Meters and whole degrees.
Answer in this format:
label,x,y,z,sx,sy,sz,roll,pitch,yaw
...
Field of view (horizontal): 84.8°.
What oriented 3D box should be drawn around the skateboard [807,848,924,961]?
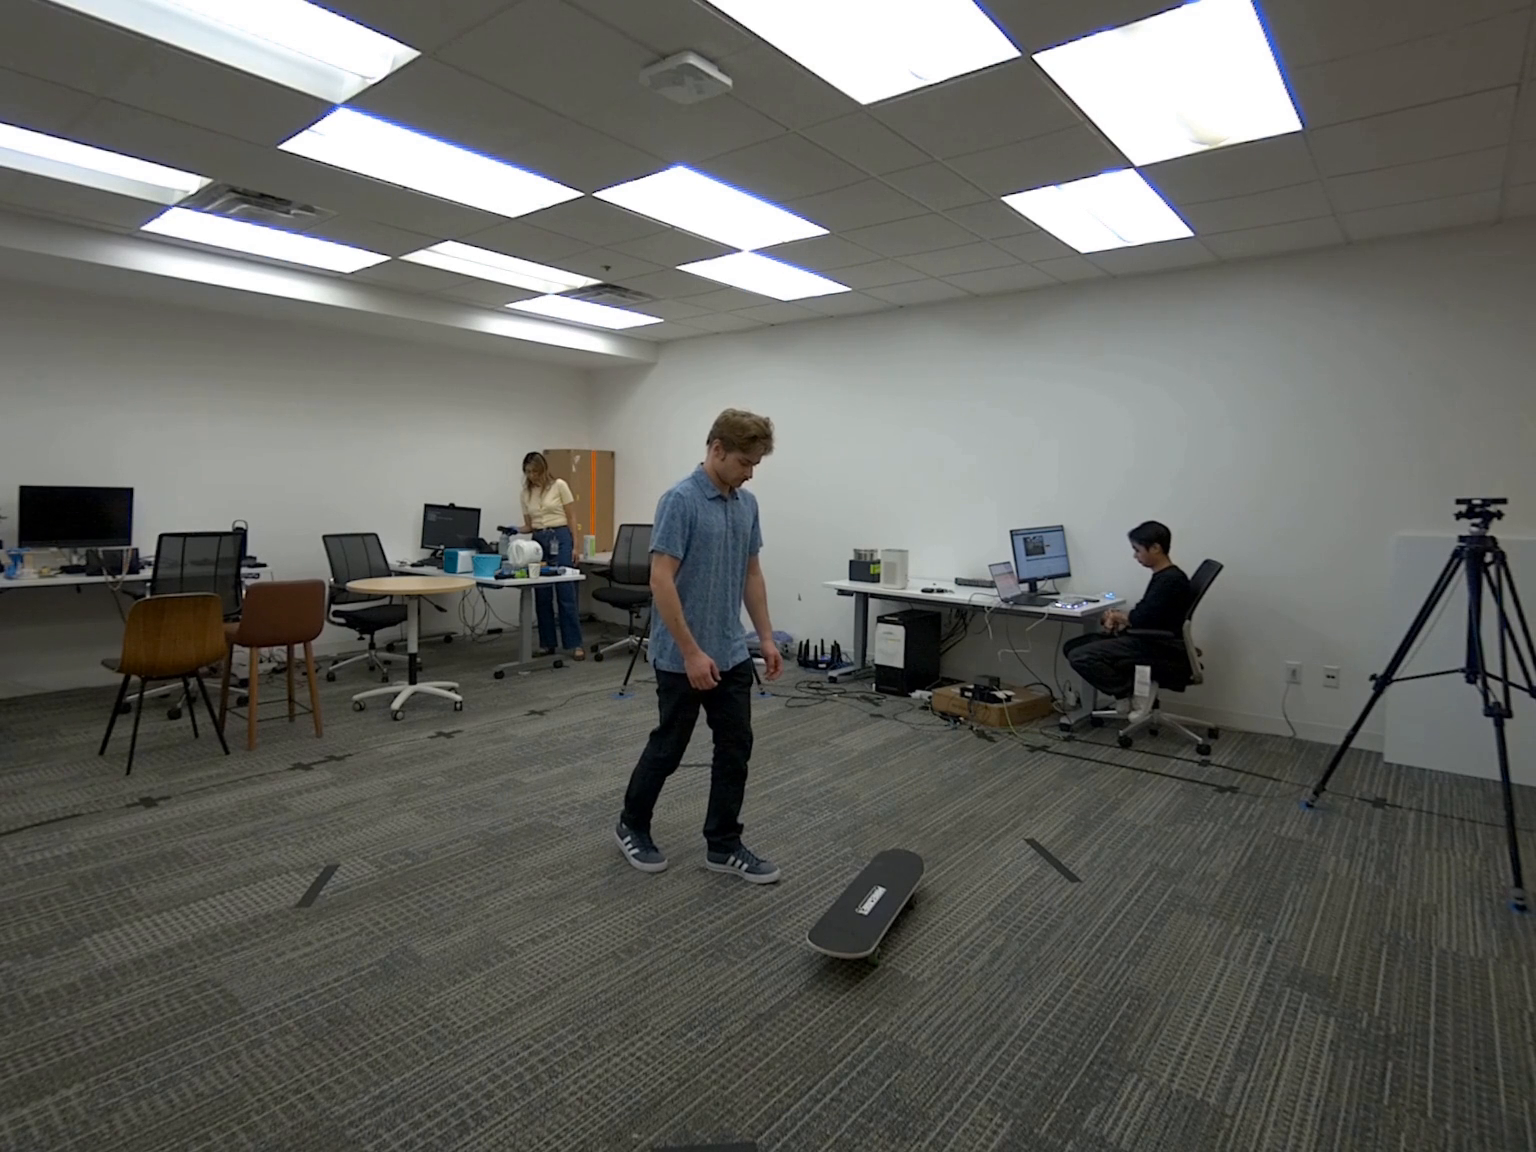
label,x,y,z,sx,sy,sz,roll,pitch,yaw
skateboard,0.328,1.066,2.719,0.199,0.110,0.768,4,6,25
